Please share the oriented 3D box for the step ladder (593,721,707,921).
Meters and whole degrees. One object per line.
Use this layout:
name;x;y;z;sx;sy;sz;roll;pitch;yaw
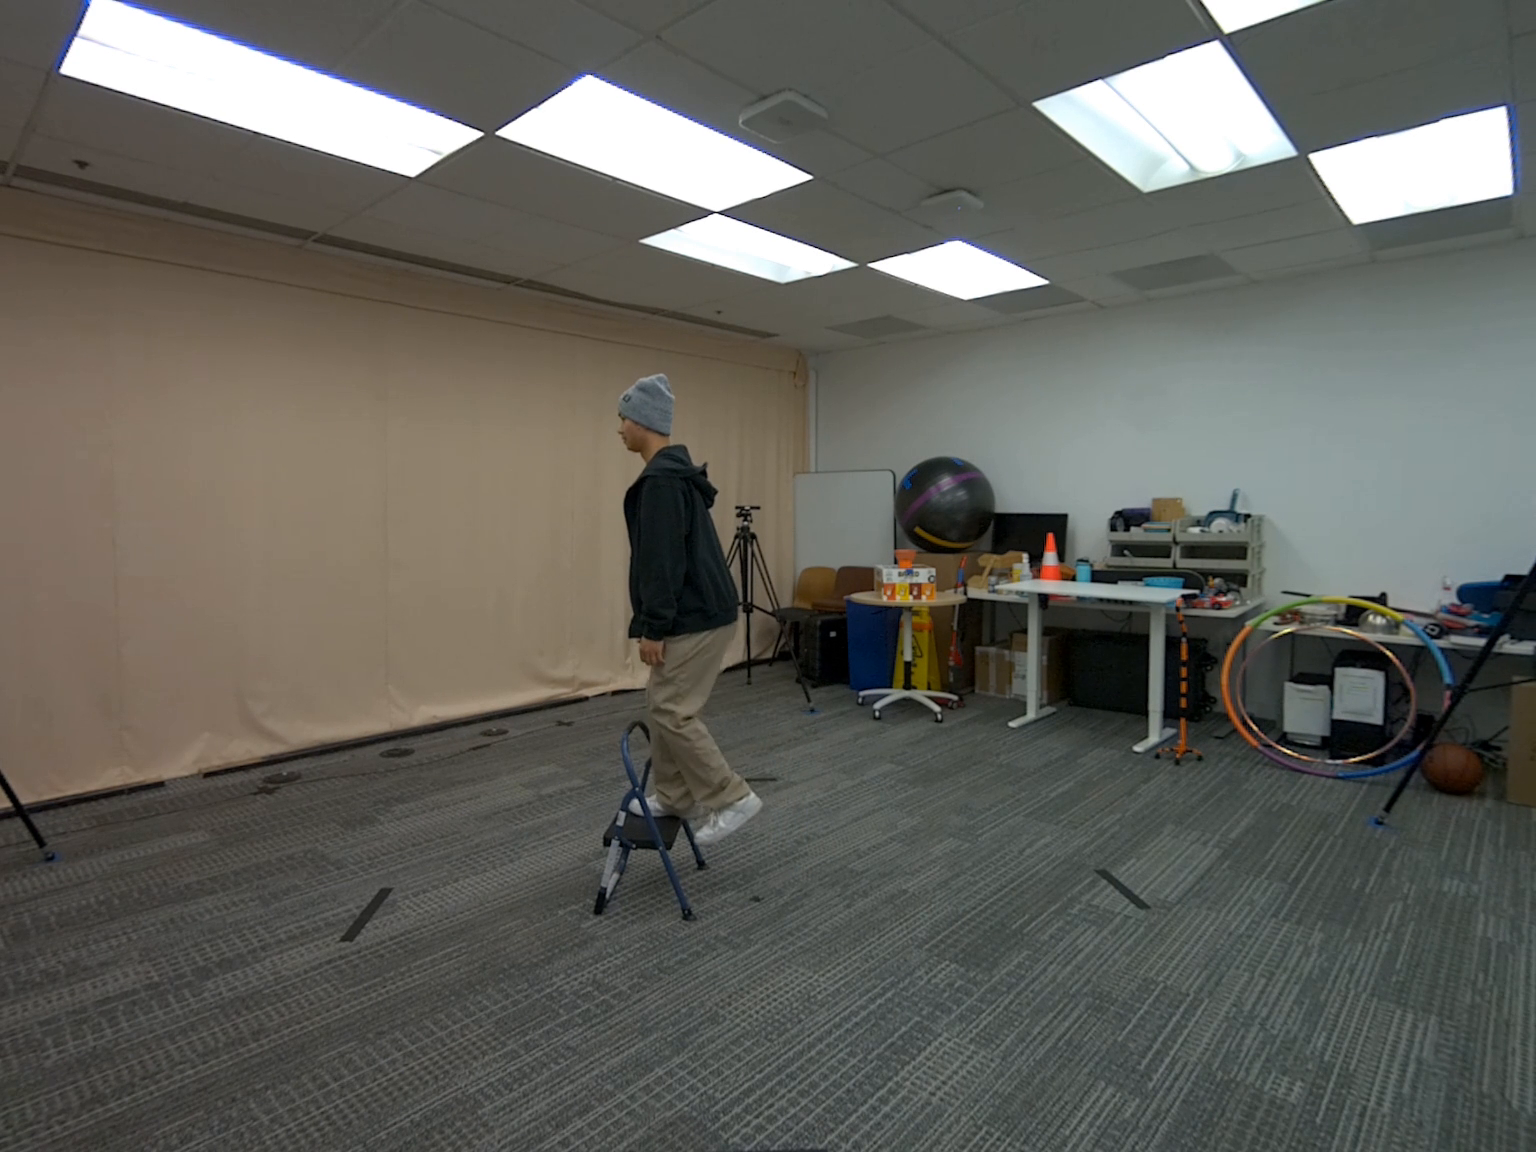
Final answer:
step ladder;-0.417;0.845;3.043;0.351;0.605;0.429;0;3;3
